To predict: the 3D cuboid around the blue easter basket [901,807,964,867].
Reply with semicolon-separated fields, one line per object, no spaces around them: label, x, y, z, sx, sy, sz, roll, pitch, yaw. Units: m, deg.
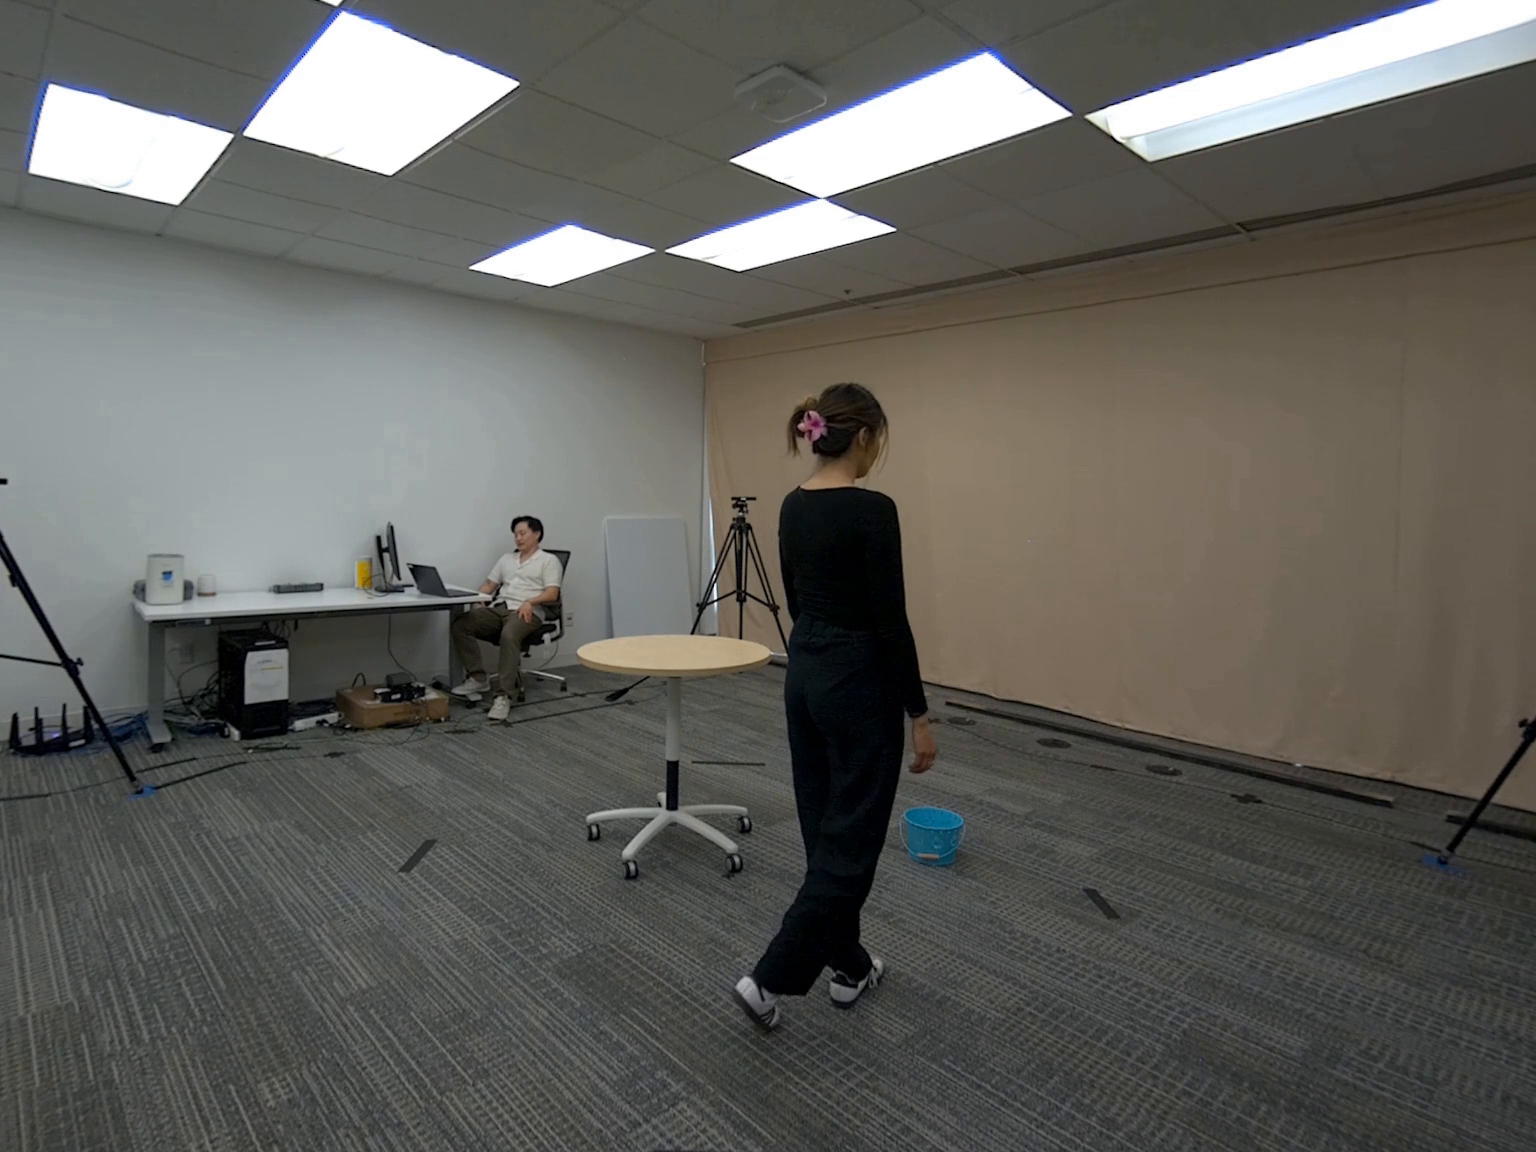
blue easter basket;0.642;1.032;3.329;0.243;0.155;0.244;1;4;-1
